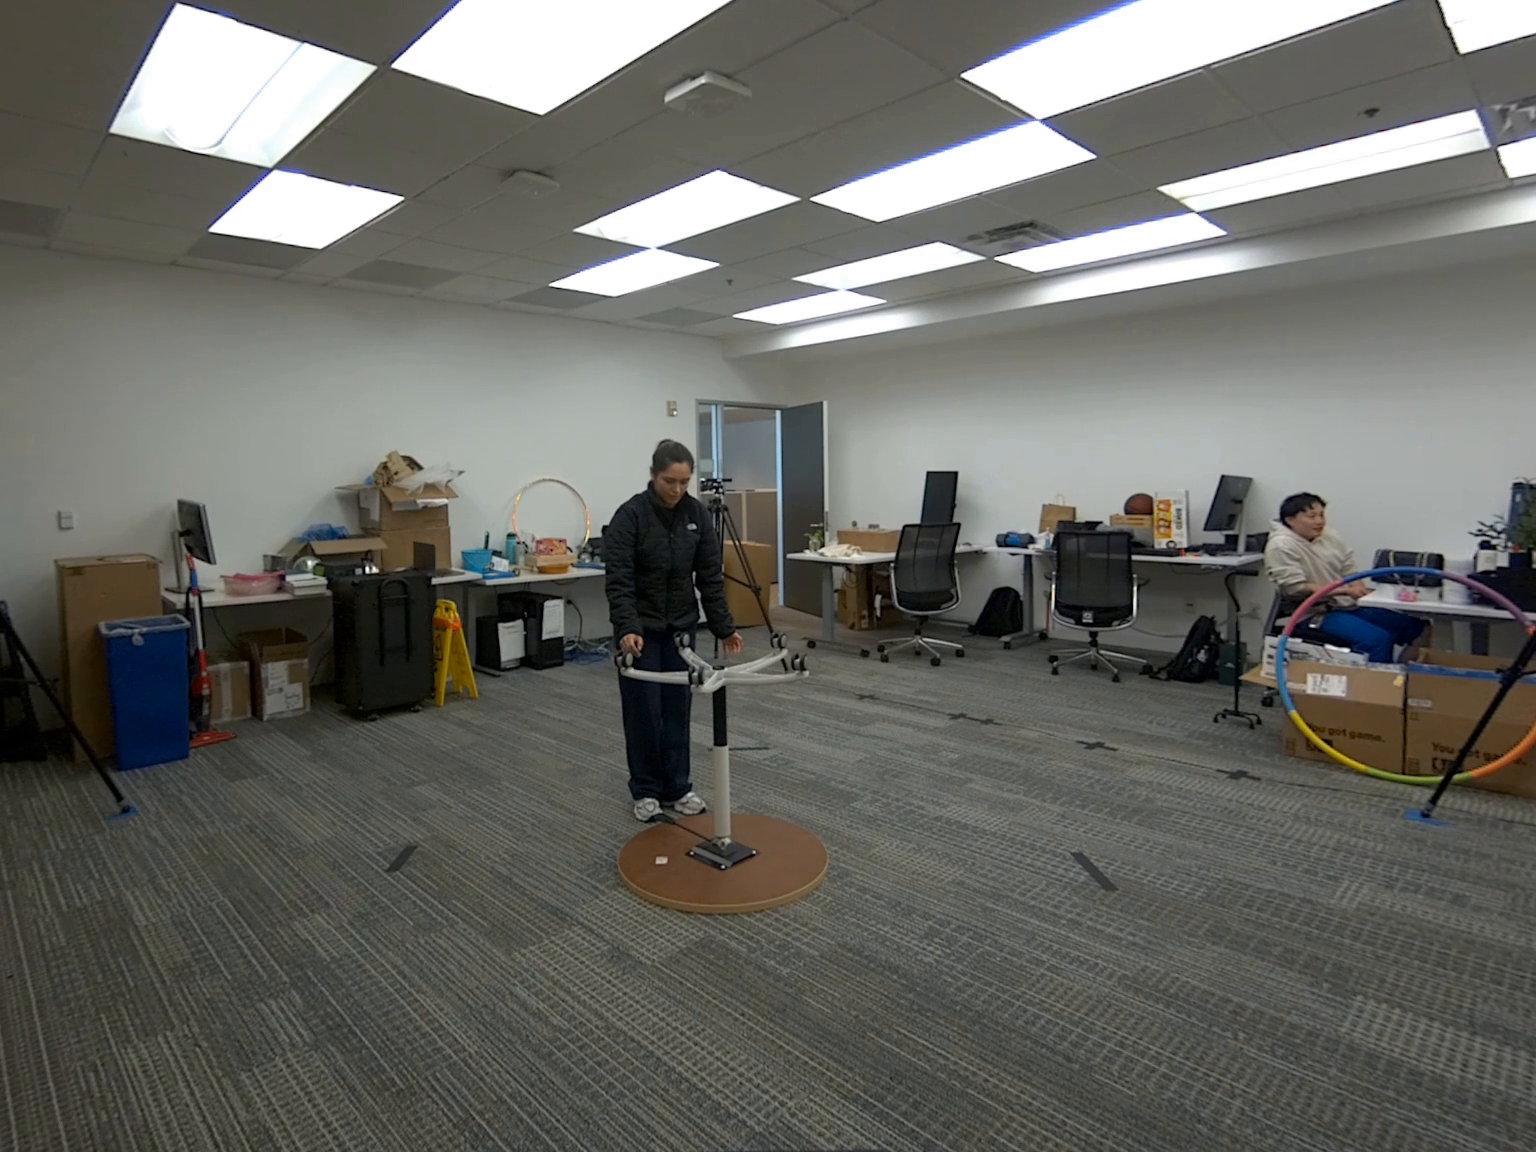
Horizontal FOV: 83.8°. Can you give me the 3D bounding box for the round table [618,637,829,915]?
[{"bbox_3d":[-0.169,0.643,3.124,0.784,0.783,0.789,-1,5,-2],"label":"round table"}]
